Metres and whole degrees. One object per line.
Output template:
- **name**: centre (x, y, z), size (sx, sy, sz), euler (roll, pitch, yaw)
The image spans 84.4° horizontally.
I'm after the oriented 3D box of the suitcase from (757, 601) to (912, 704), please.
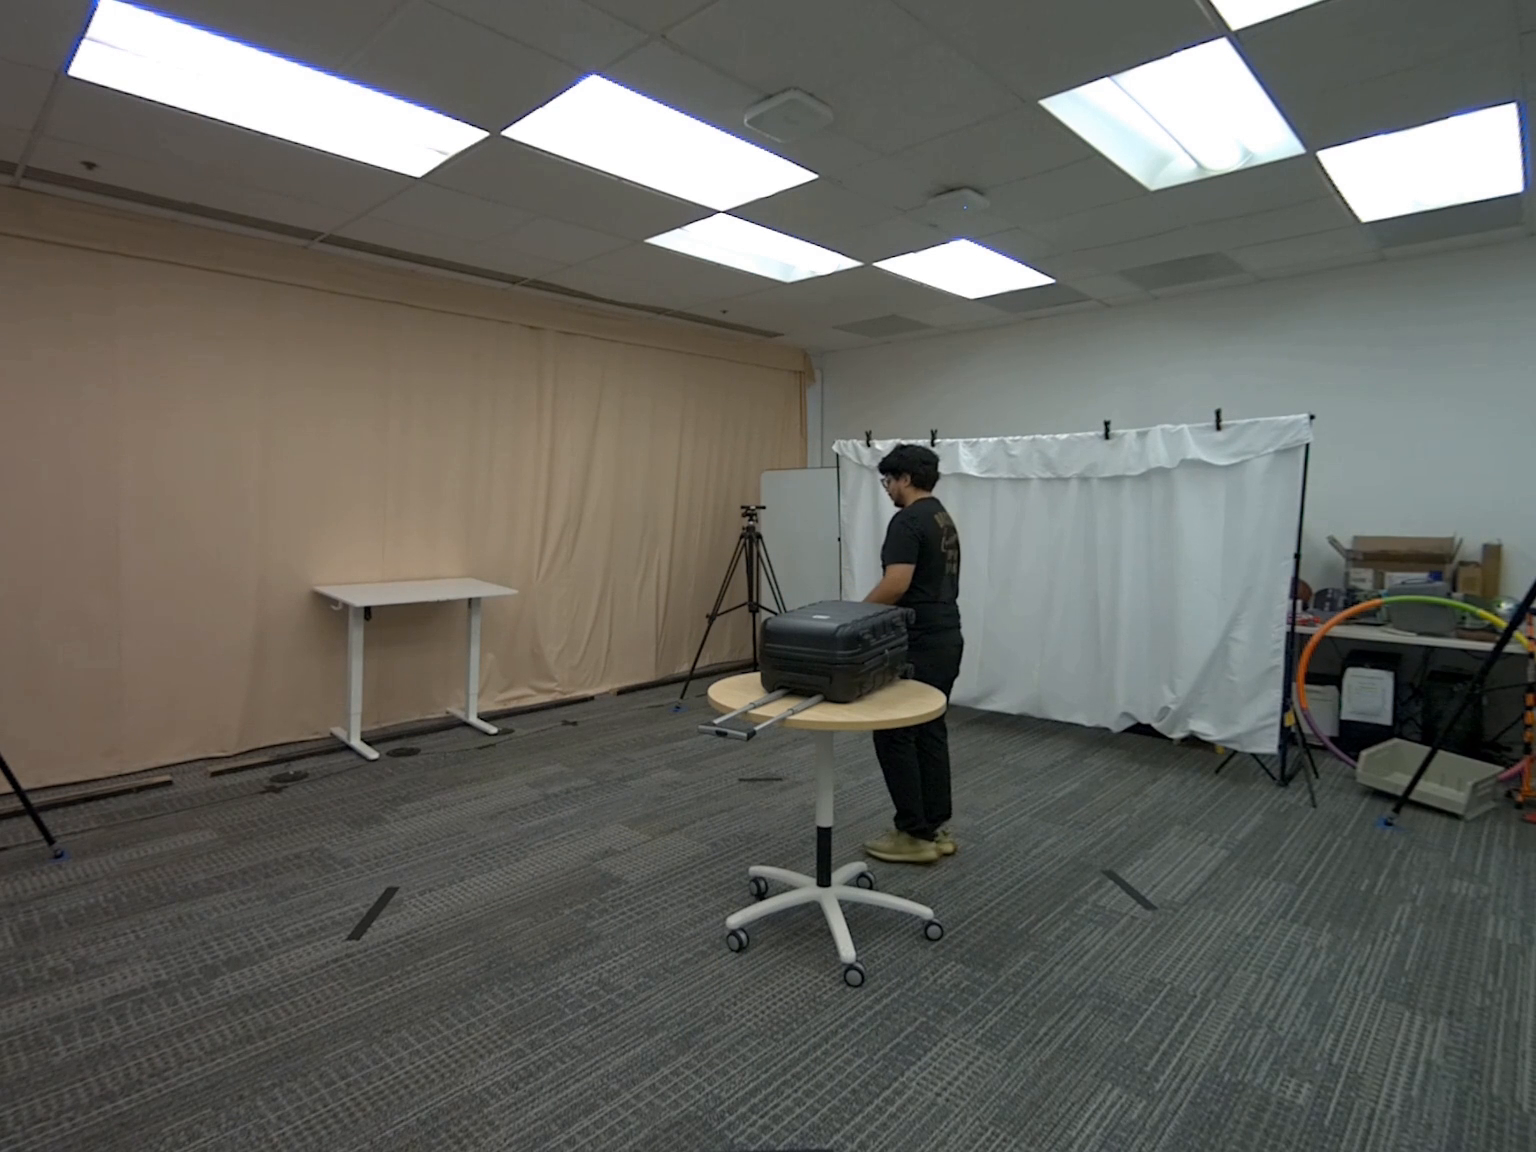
- **suitcase**: centre (0.128, 0.262, 2.661), size (0.396, 0.256, 0.952), euler (4, 6, 31)
